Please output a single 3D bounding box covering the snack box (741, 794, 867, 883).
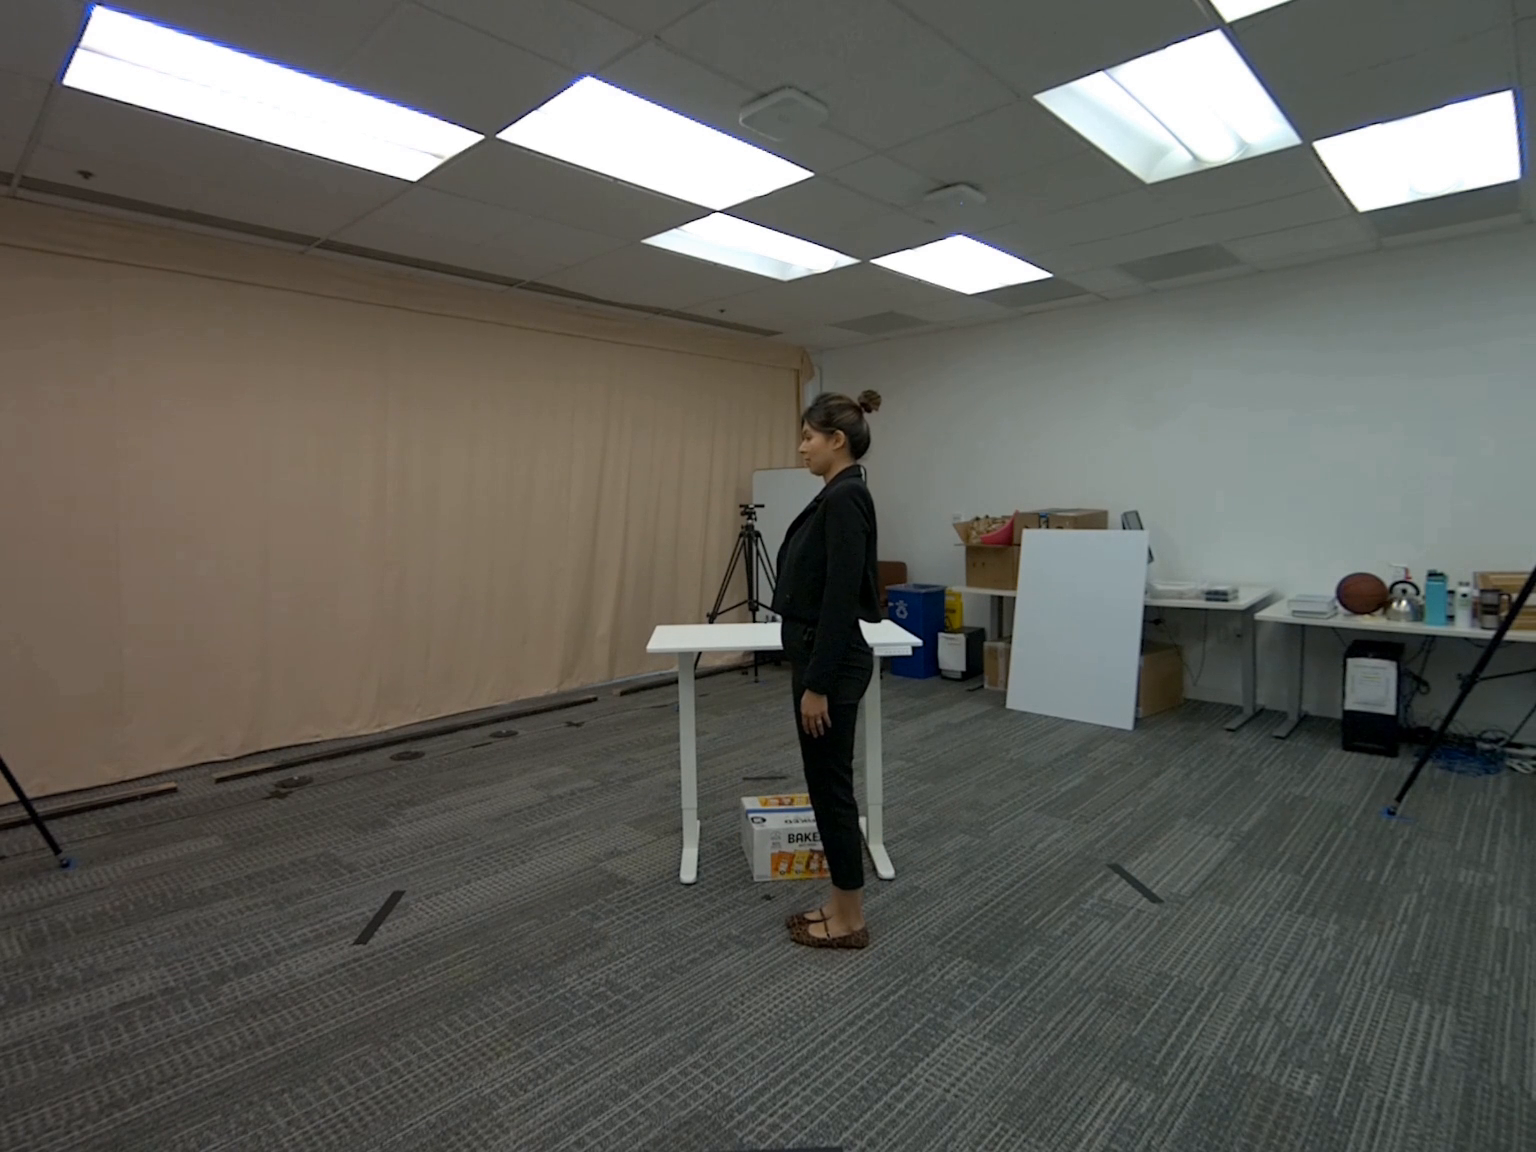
[{"bbox_3d":[0.119,1.011,3.278,0.401,0.205,0.344,-1,4,-9],"label":"snack box"}]
